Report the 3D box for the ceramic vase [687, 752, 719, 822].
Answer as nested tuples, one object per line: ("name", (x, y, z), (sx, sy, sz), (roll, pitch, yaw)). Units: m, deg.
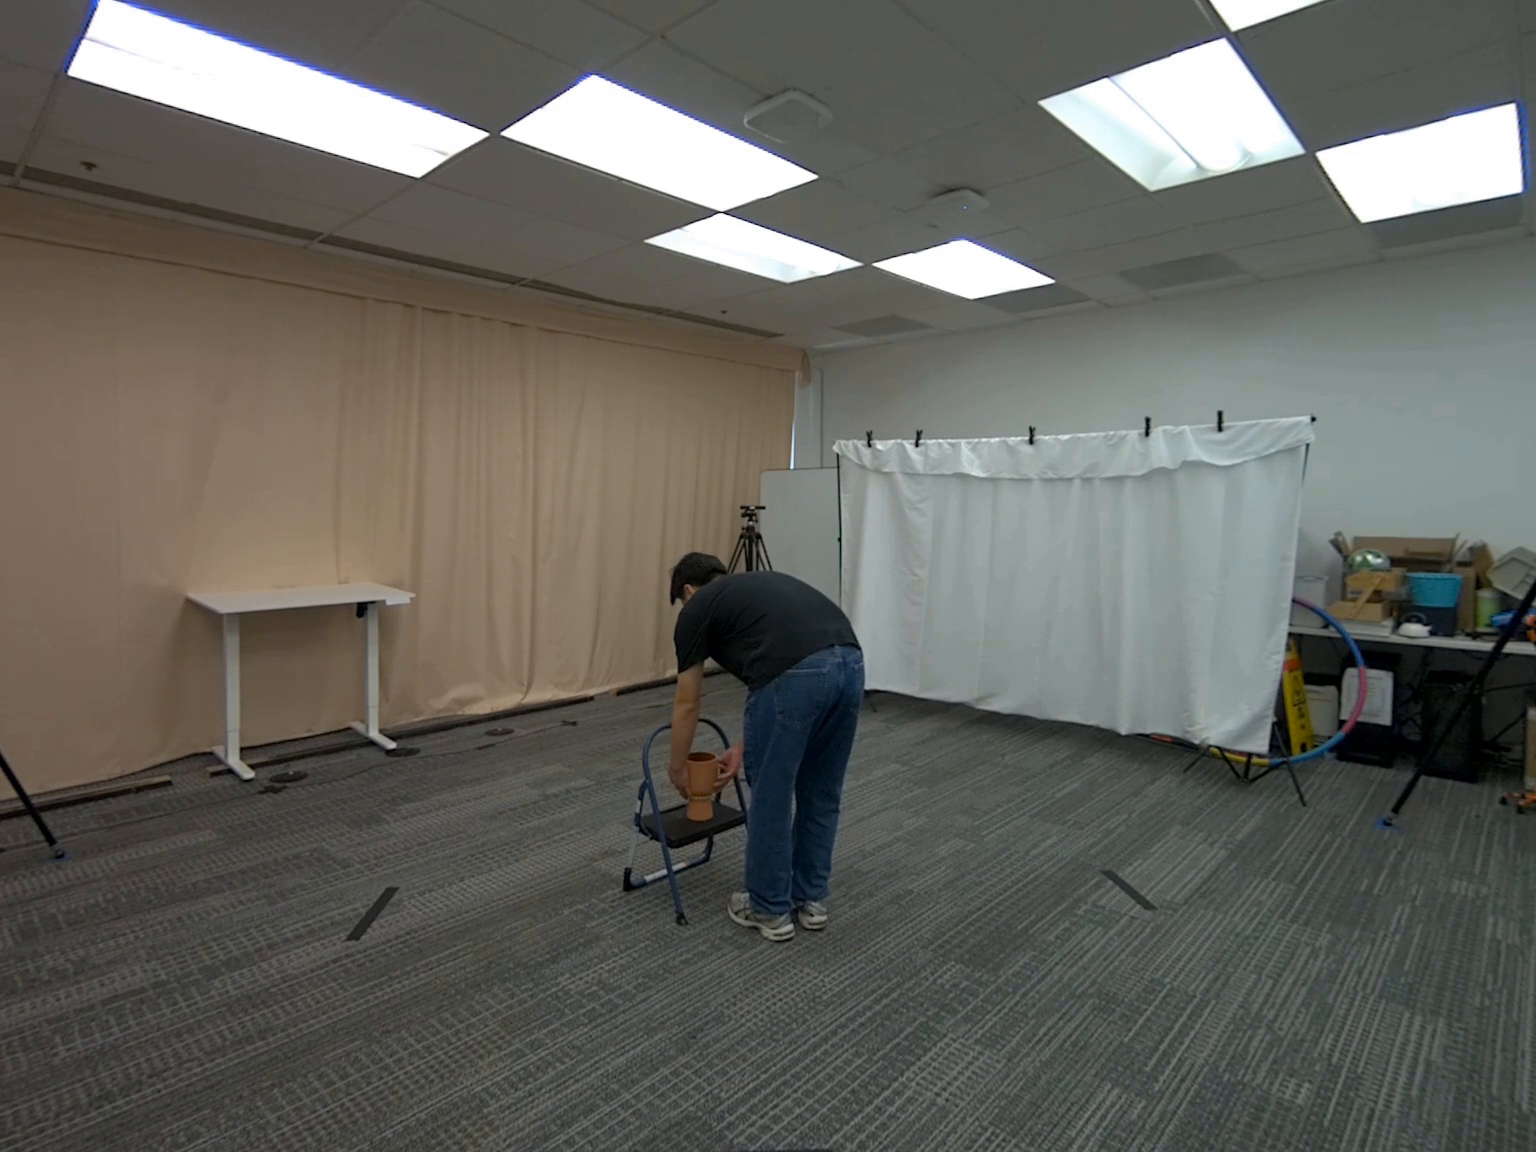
("ceramic vase", (-0.246, 0.770, 3.062), (0.130, 0.219, 0.164), (-3, 7, -44))
